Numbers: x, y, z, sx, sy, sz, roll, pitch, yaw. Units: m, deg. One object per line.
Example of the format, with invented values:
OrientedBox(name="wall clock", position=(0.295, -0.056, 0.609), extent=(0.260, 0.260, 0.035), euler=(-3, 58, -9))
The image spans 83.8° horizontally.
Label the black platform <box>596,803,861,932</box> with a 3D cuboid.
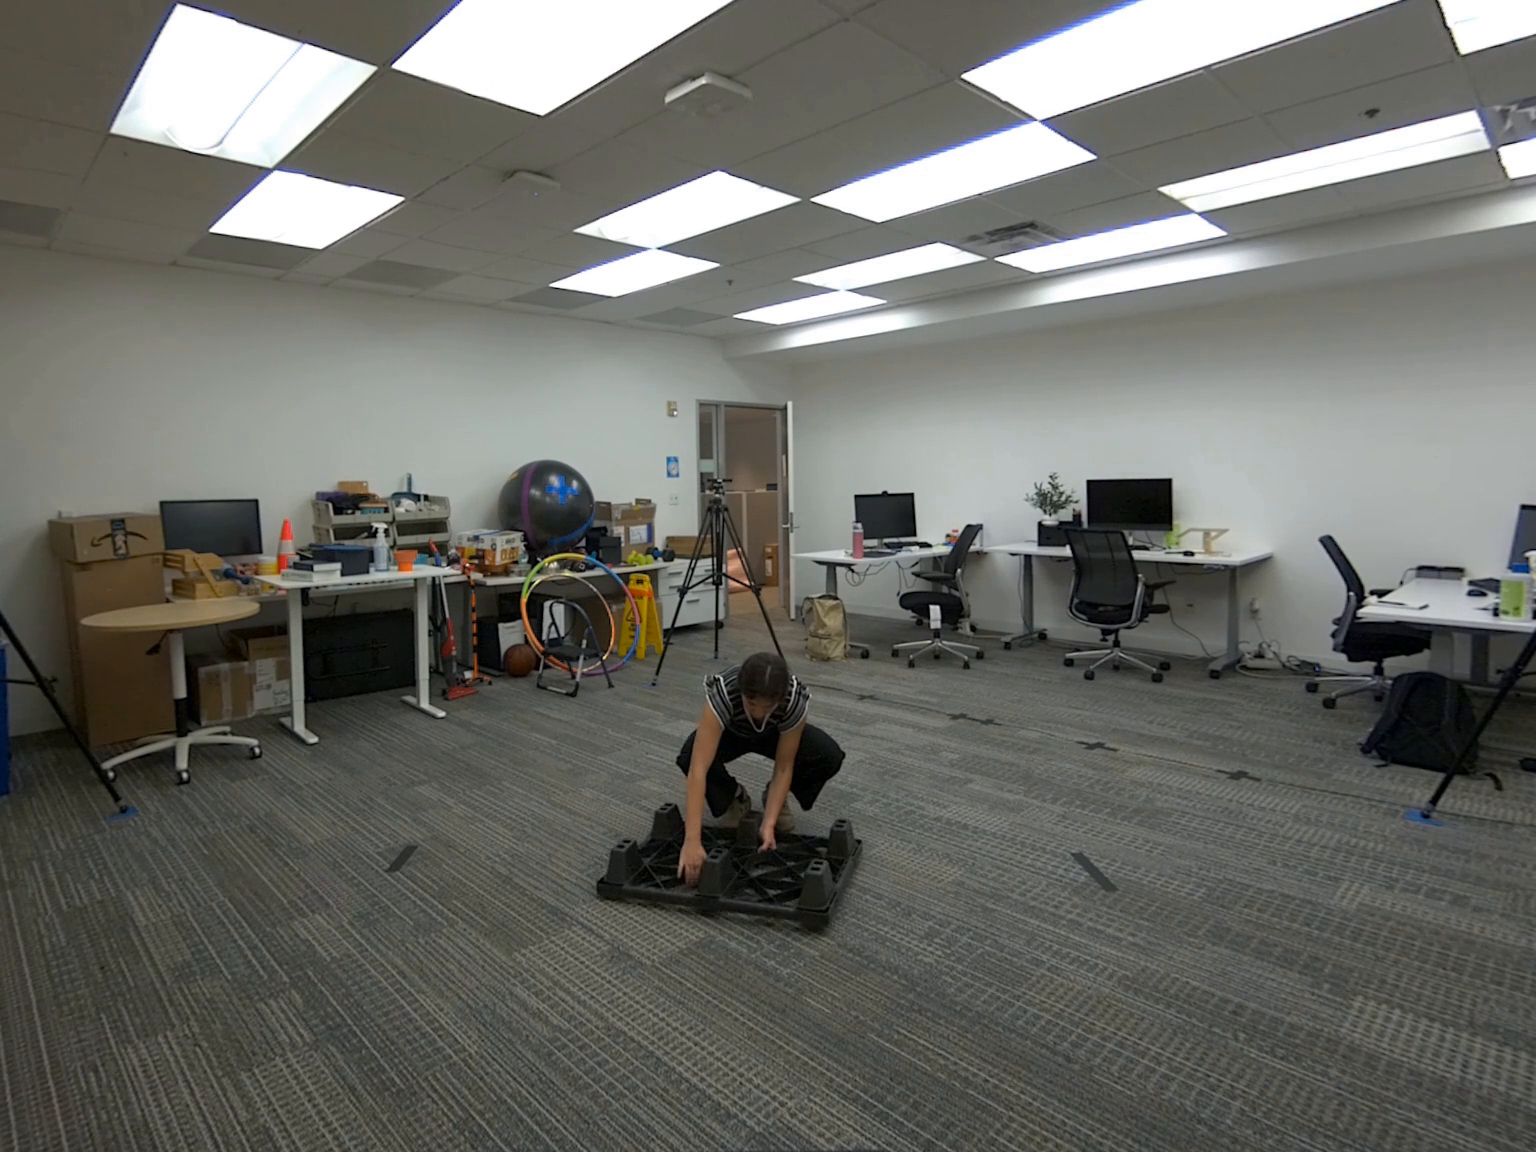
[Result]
OrientedBox(name="black platform", position=(-0.113, 0.967, 3.007), extent=(0.820, 0.143, 0.596), euler=(0, 4, 18))
